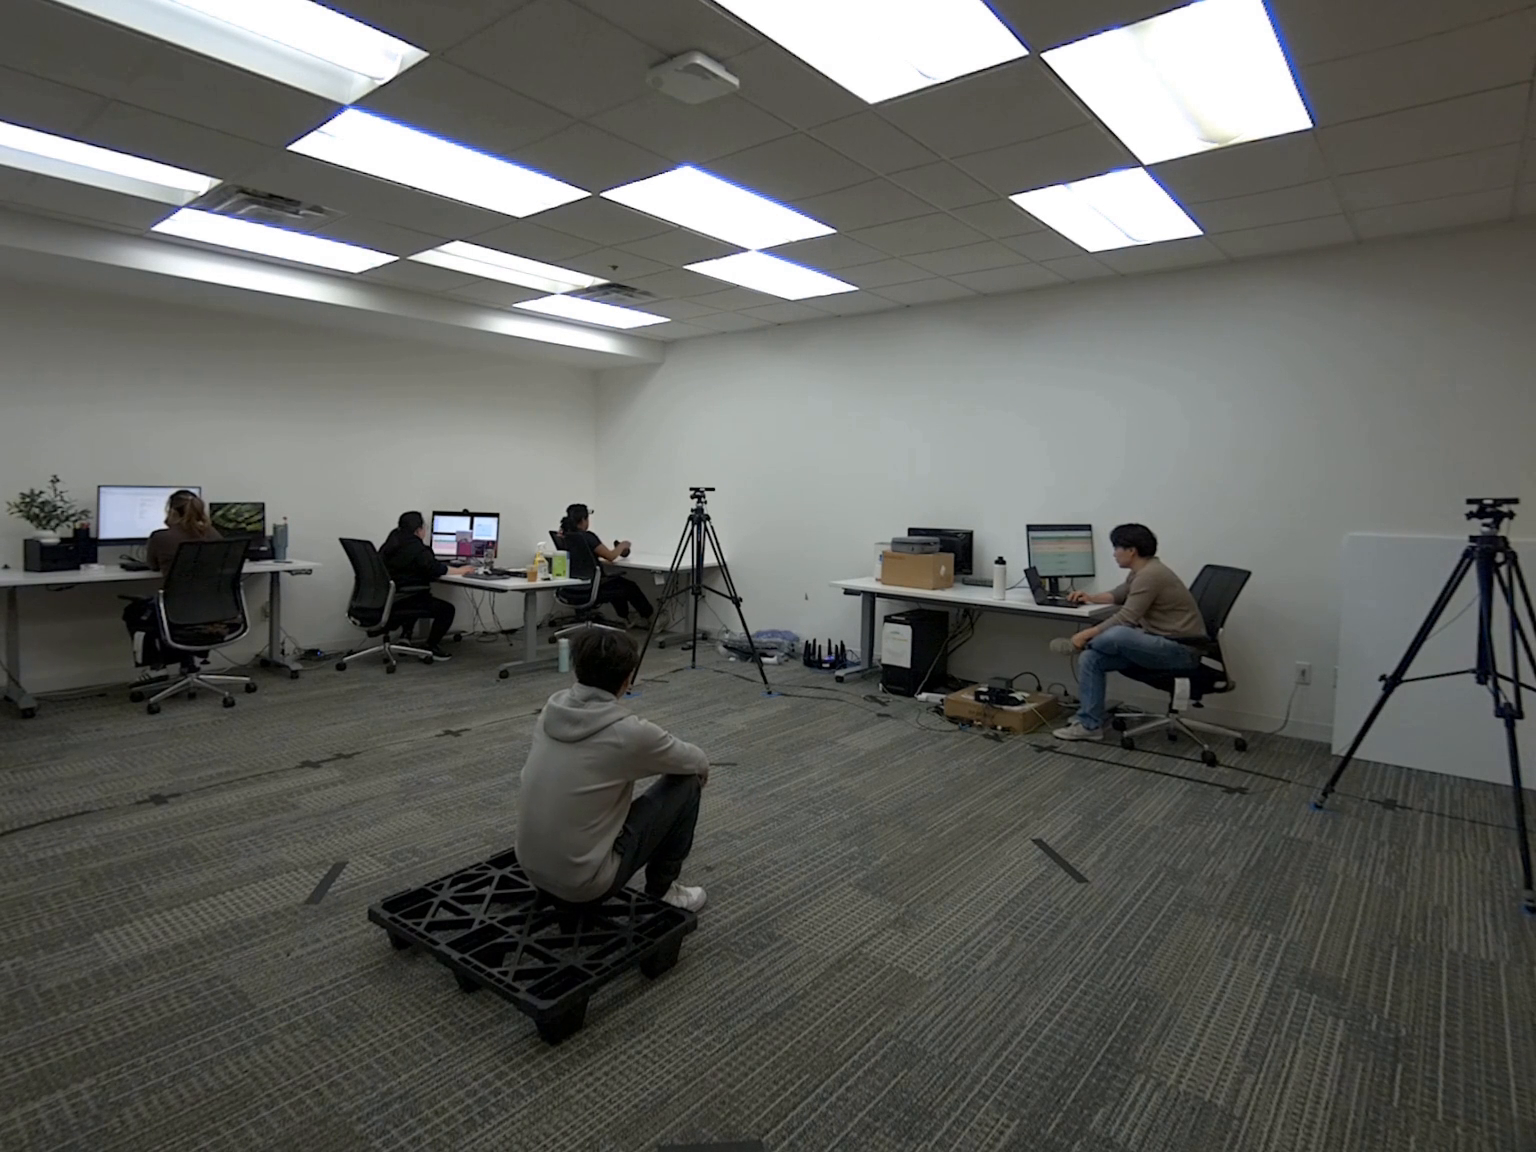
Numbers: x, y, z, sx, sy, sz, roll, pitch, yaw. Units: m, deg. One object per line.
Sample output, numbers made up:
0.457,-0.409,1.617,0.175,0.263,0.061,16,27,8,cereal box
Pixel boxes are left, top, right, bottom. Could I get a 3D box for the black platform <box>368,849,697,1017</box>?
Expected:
-0.707,1.051,2.518,0.832,0.143,0.588,5,6,36,black platform
